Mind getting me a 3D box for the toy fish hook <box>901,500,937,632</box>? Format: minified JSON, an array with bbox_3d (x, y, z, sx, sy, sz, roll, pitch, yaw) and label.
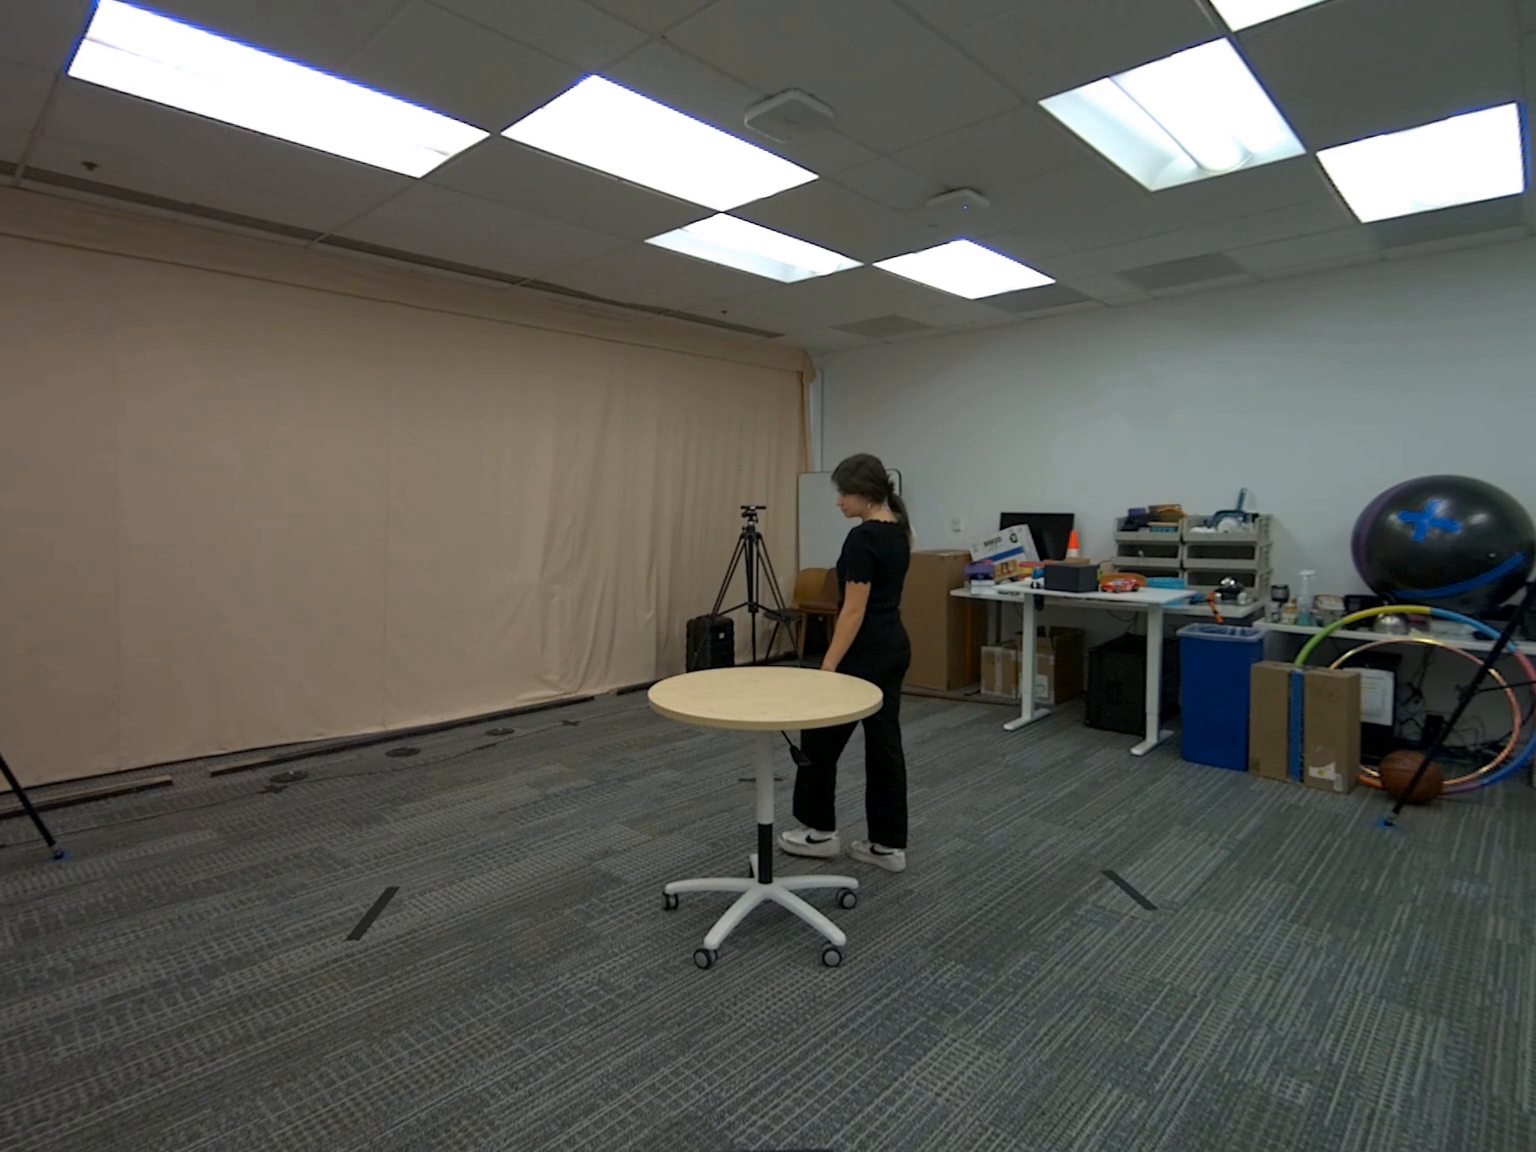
[{"bbox_3d":[0.506,-0.032,3.356,0.230,0.505,0.047,-9,3,28],"label":"toy fish hook"}]
